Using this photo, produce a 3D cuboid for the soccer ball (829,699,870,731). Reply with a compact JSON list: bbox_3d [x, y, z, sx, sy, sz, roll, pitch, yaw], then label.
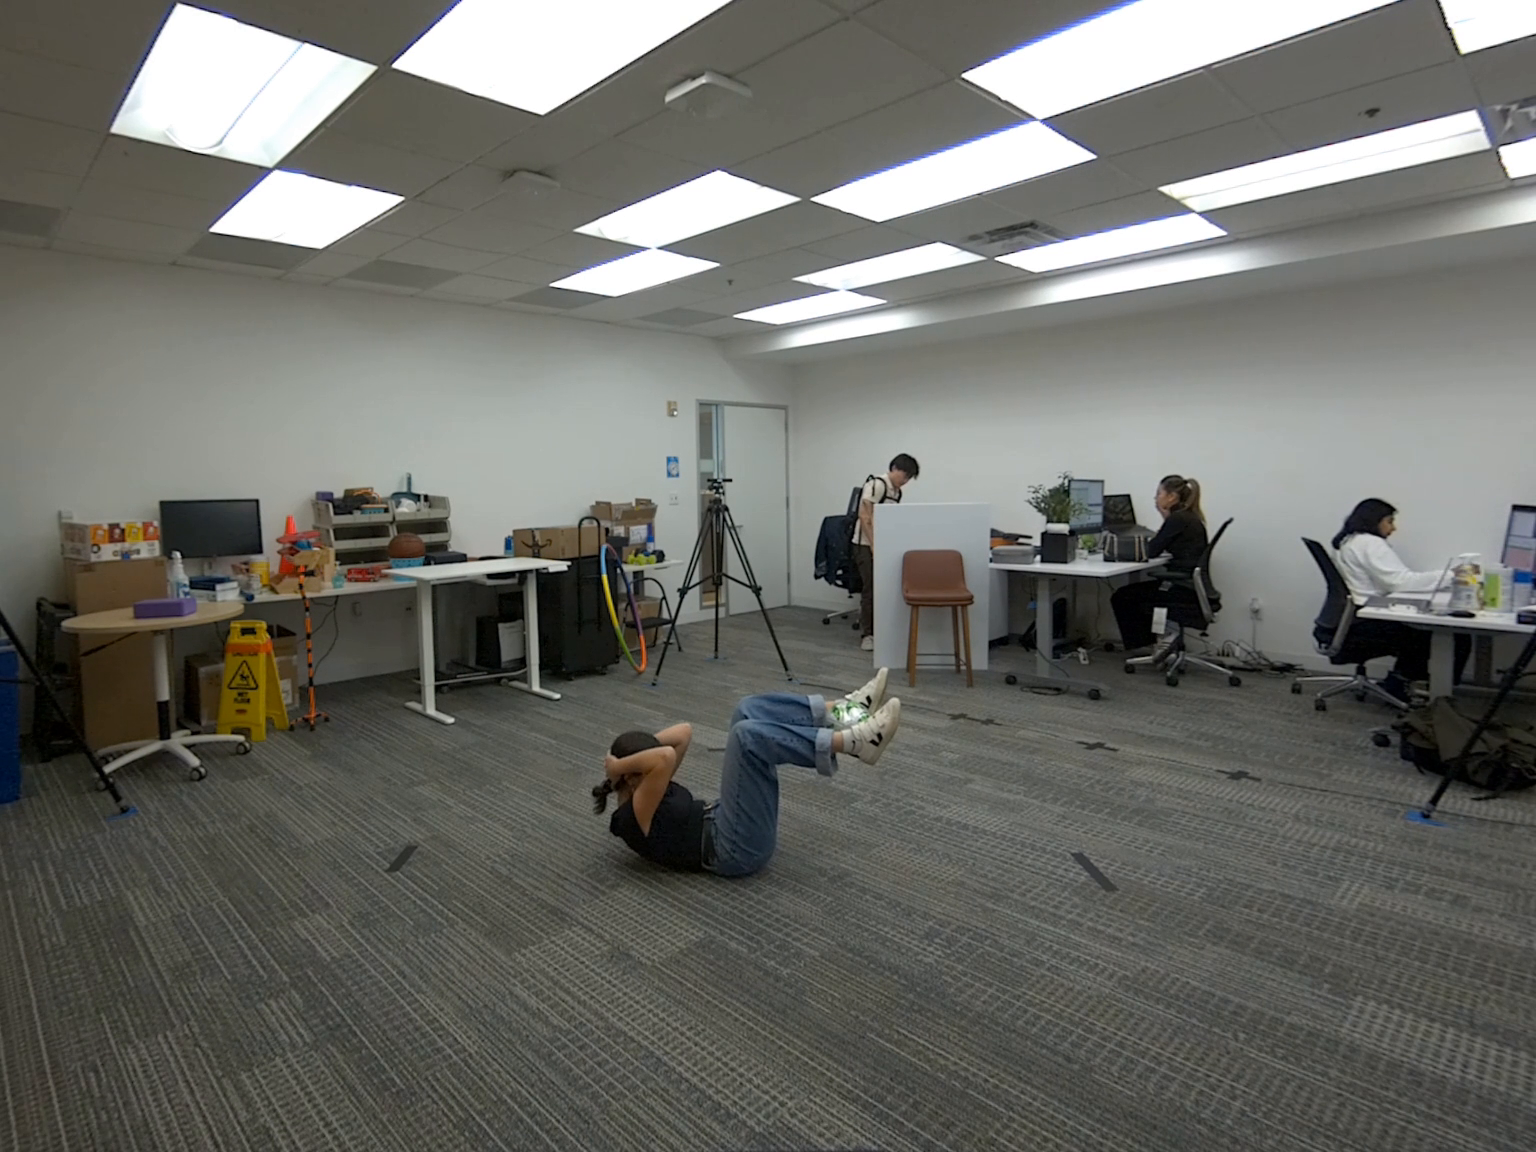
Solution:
[{"bbox_3d":[0.297,0.543,3.053,0.187,0.187,0.188,0,1,-2],"label":"soccer ball"}]
